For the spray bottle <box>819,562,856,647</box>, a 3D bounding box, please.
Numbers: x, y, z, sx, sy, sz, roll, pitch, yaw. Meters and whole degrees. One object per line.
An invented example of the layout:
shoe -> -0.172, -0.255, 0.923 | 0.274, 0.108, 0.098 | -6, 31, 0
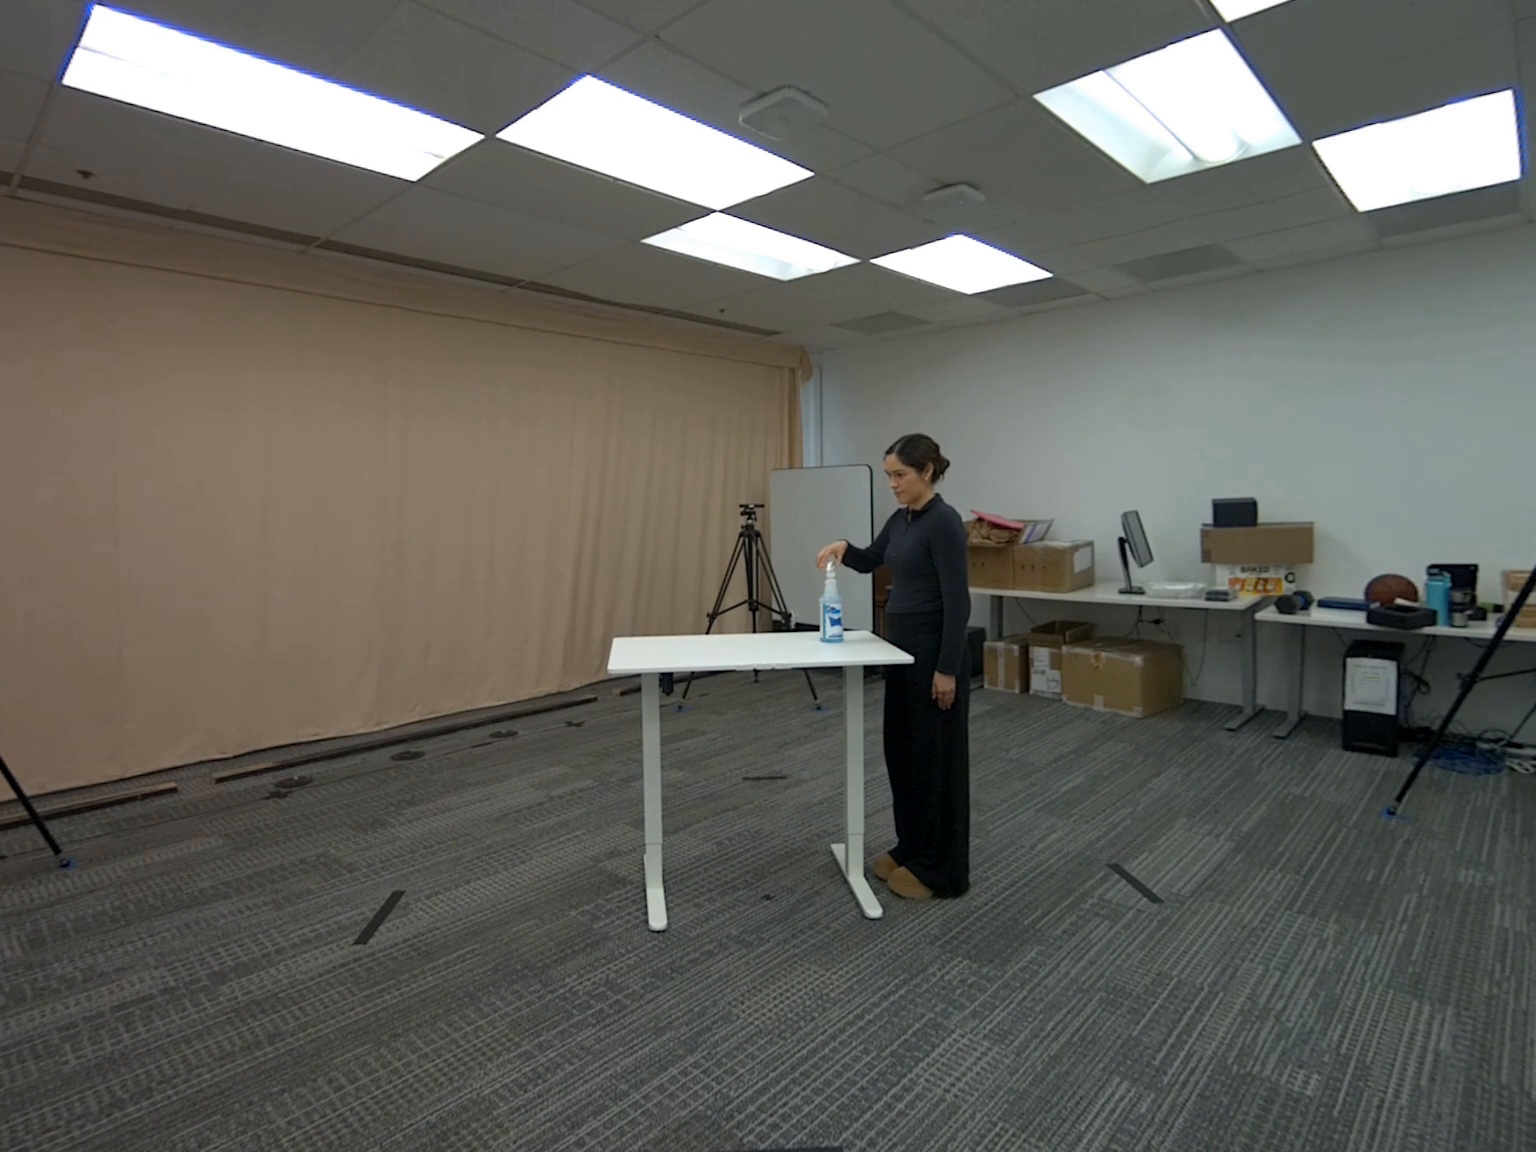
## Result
spray bottle -> 0.252, 0.100, 3.109 | 0.090, 0.297, 0.087 | 4, 3, 44
